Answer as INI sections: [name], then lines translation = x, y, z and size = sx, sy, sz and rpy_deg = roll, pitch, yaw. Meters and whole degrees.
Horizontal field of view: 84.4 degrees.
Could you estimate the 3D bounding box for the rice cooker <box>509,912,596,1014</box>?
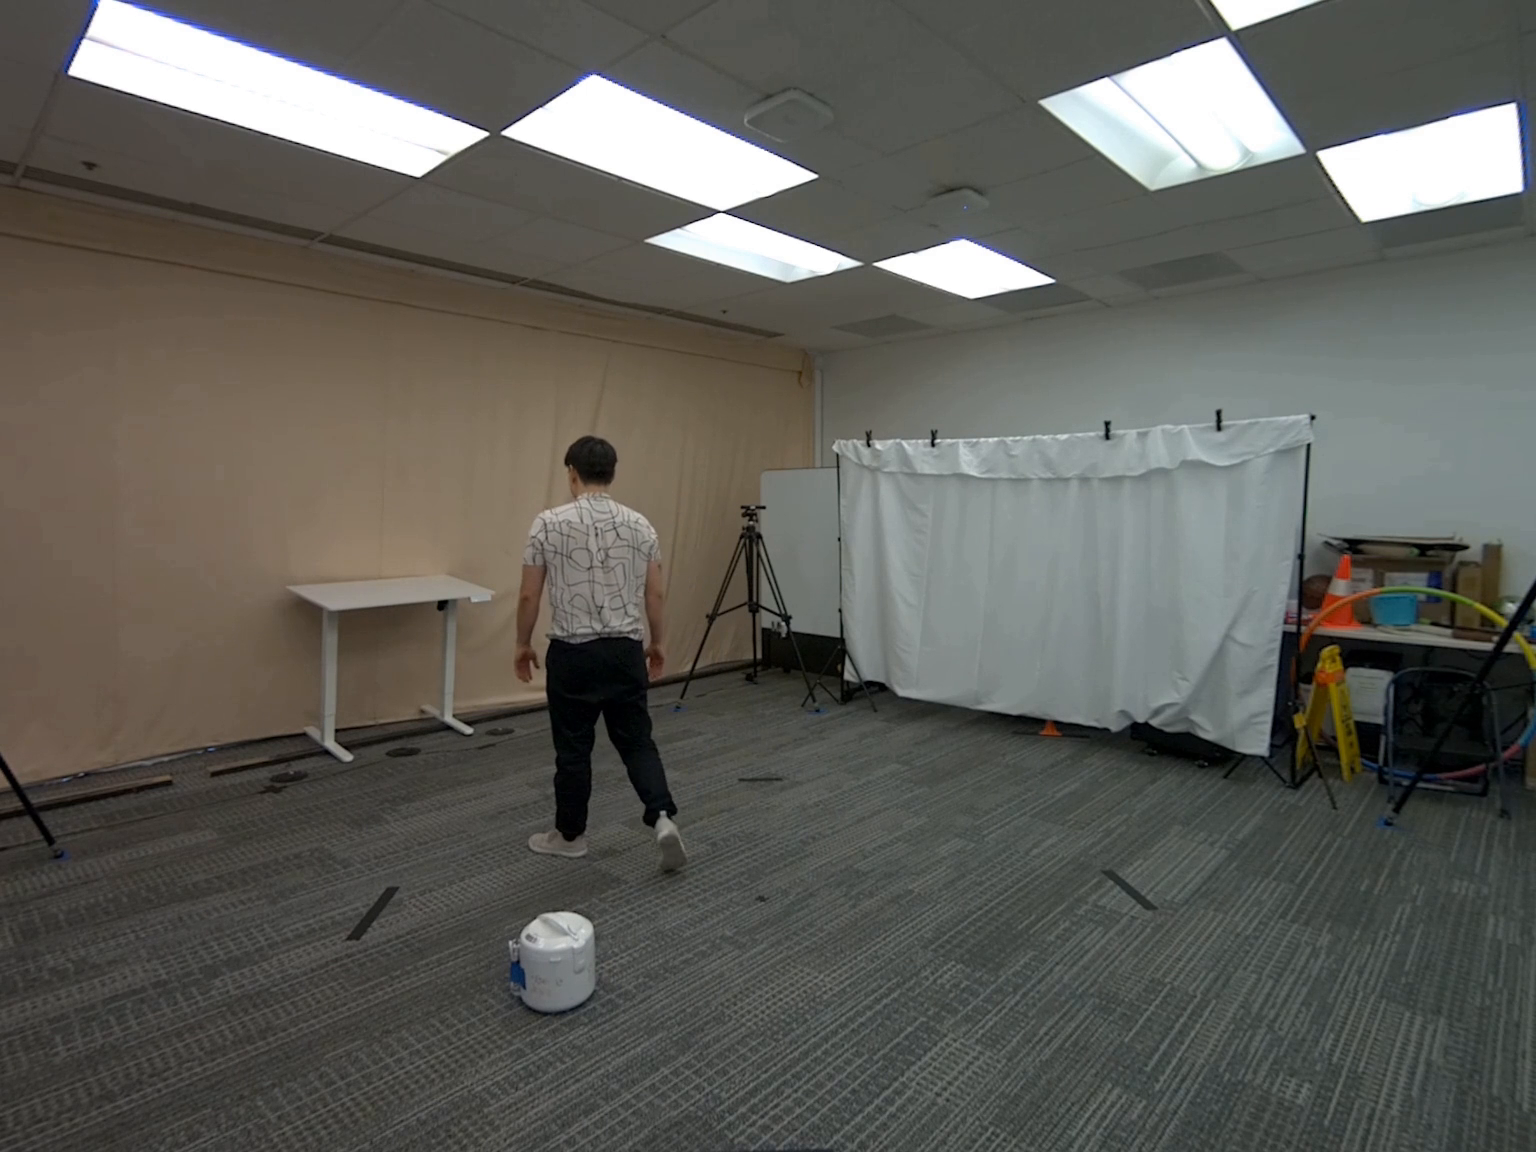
[rice cooker]
translation = -0.595, 1.078, 2.391
size = 0.228, 0.232, 0.211
rpy_deg = 3, 5, 40
